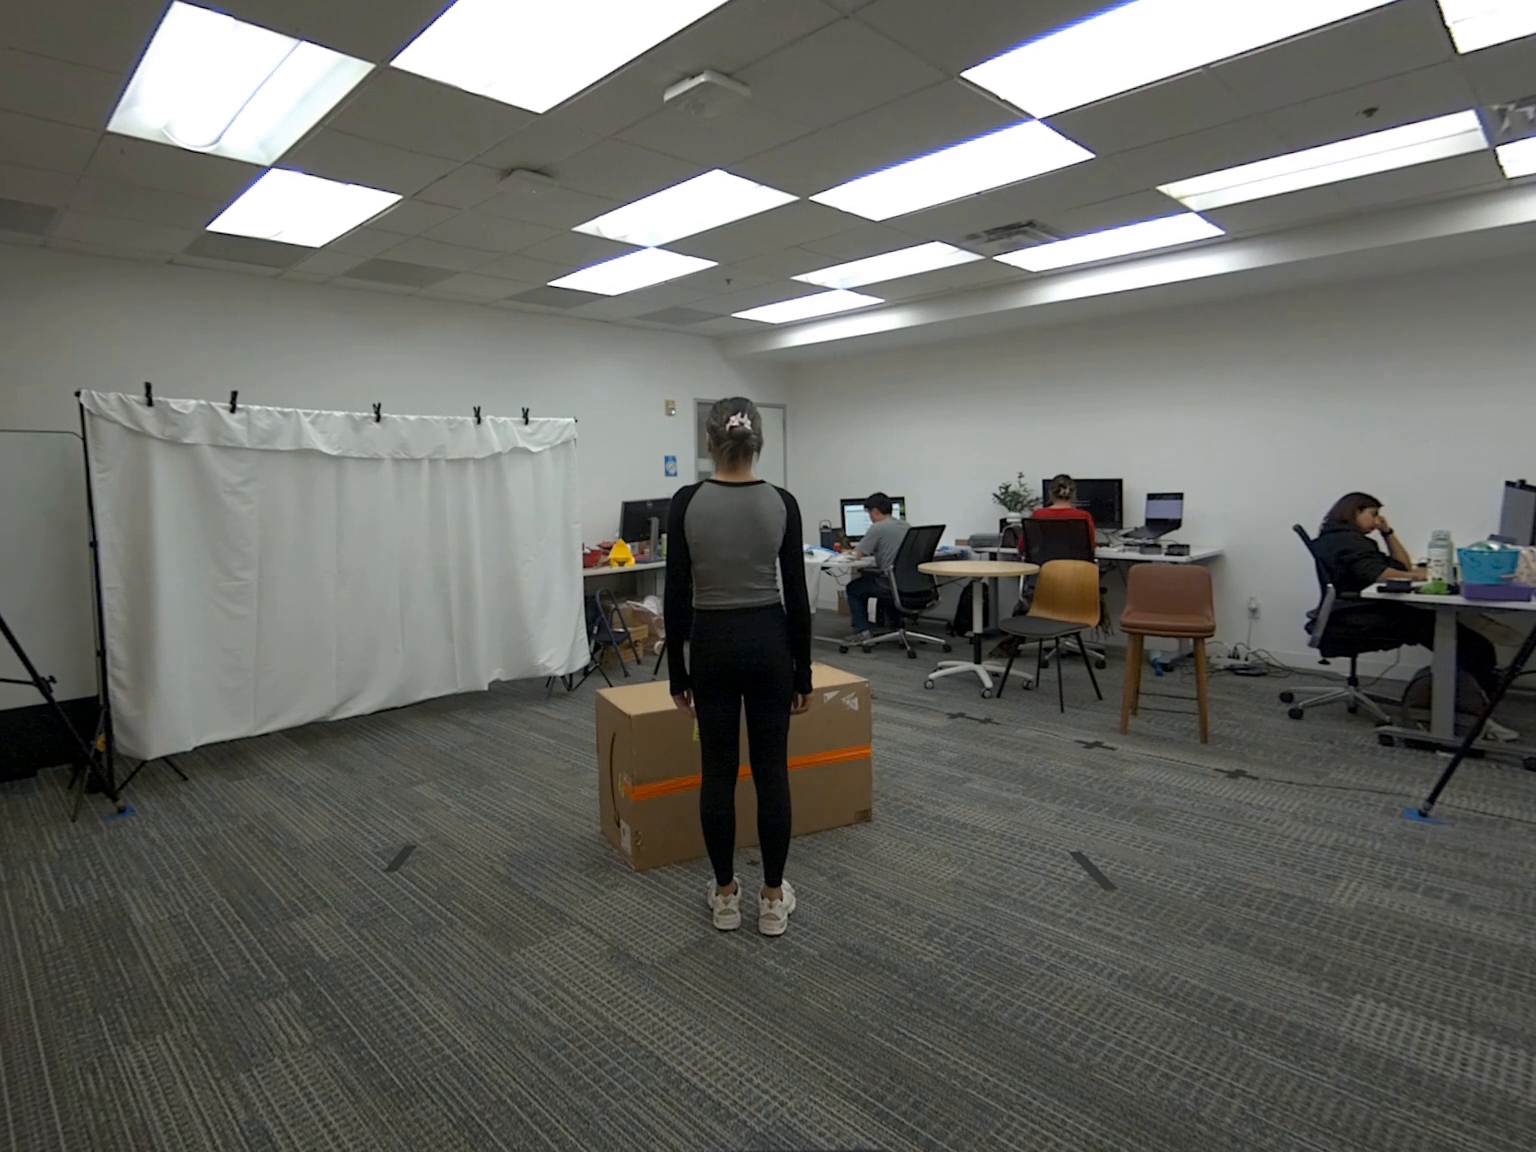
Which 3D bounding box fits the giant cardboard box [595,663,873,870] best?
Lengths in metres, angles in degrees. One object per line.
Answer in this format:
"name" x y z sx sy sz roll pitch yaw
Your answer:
"giant cardboard box" -0.131 0.719 3.424 1.004 0.575 0.437 -4 5 -26
